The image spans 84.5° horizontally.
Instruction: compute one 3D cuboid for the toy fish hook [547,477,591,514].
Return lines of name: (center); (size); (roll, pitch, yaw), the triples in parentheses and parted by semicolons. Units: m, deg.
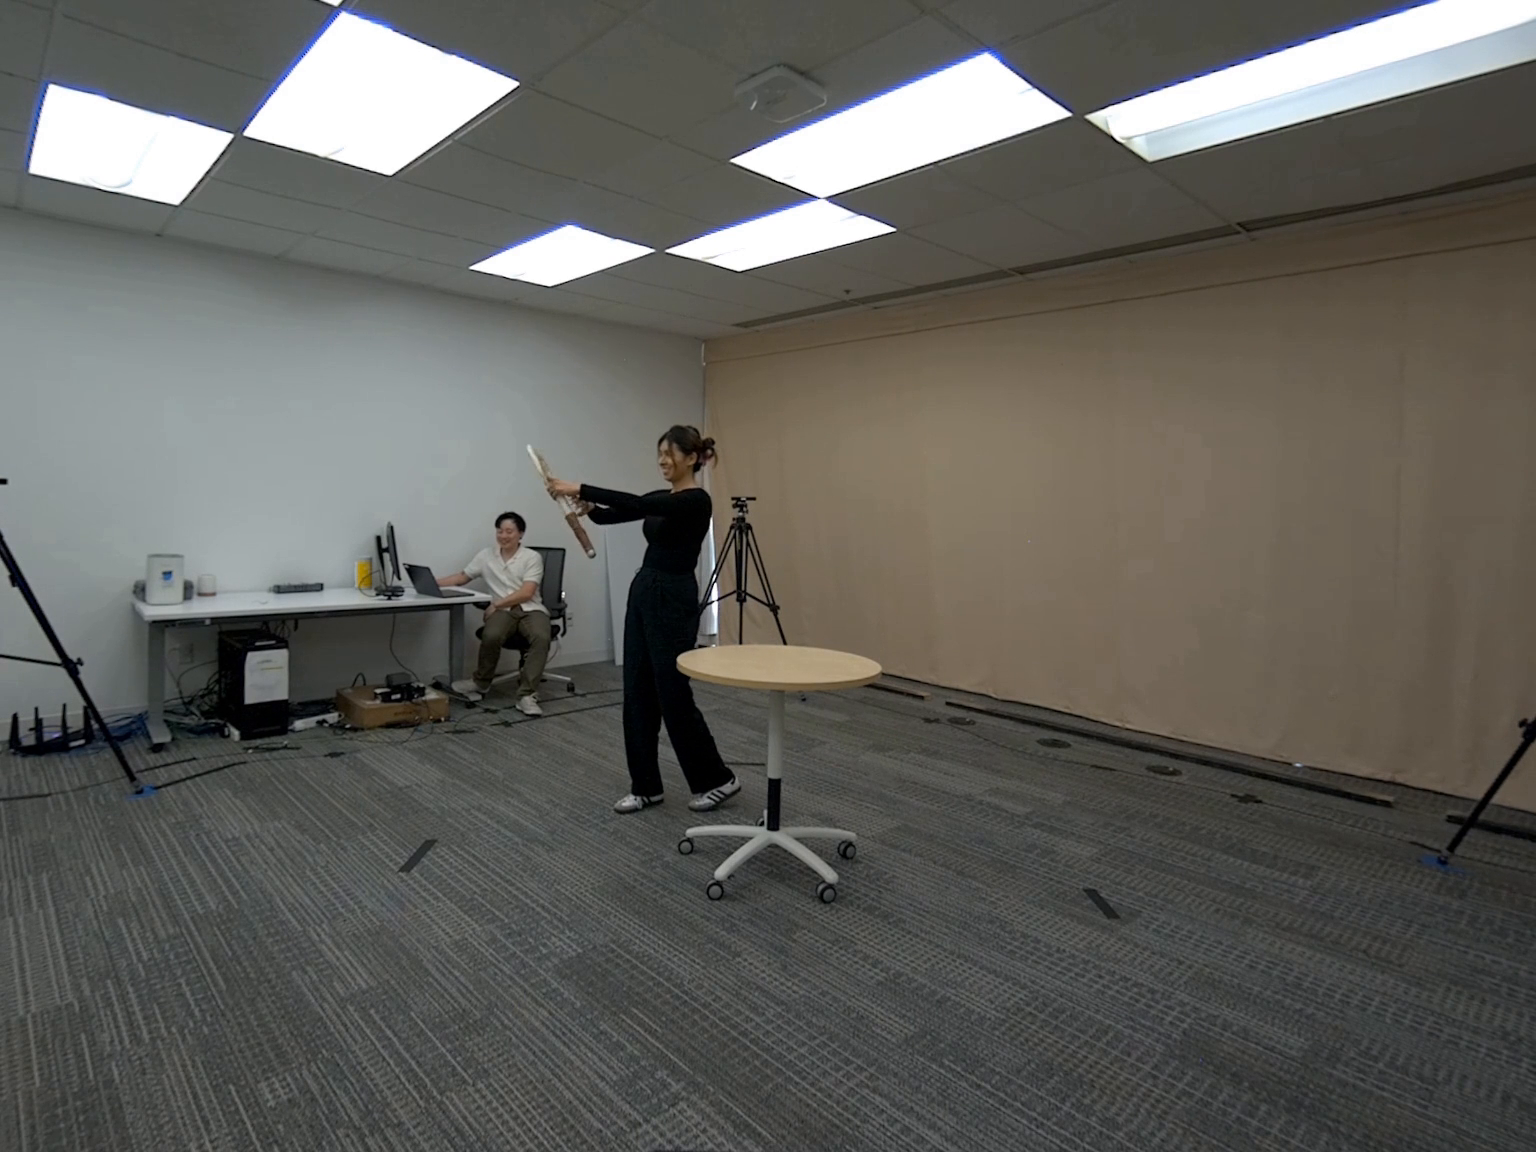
toy fish hook: (-0.826, -0.288, 3.348); (0.048, 0.510, 0.223); (-31, -6, 1)
